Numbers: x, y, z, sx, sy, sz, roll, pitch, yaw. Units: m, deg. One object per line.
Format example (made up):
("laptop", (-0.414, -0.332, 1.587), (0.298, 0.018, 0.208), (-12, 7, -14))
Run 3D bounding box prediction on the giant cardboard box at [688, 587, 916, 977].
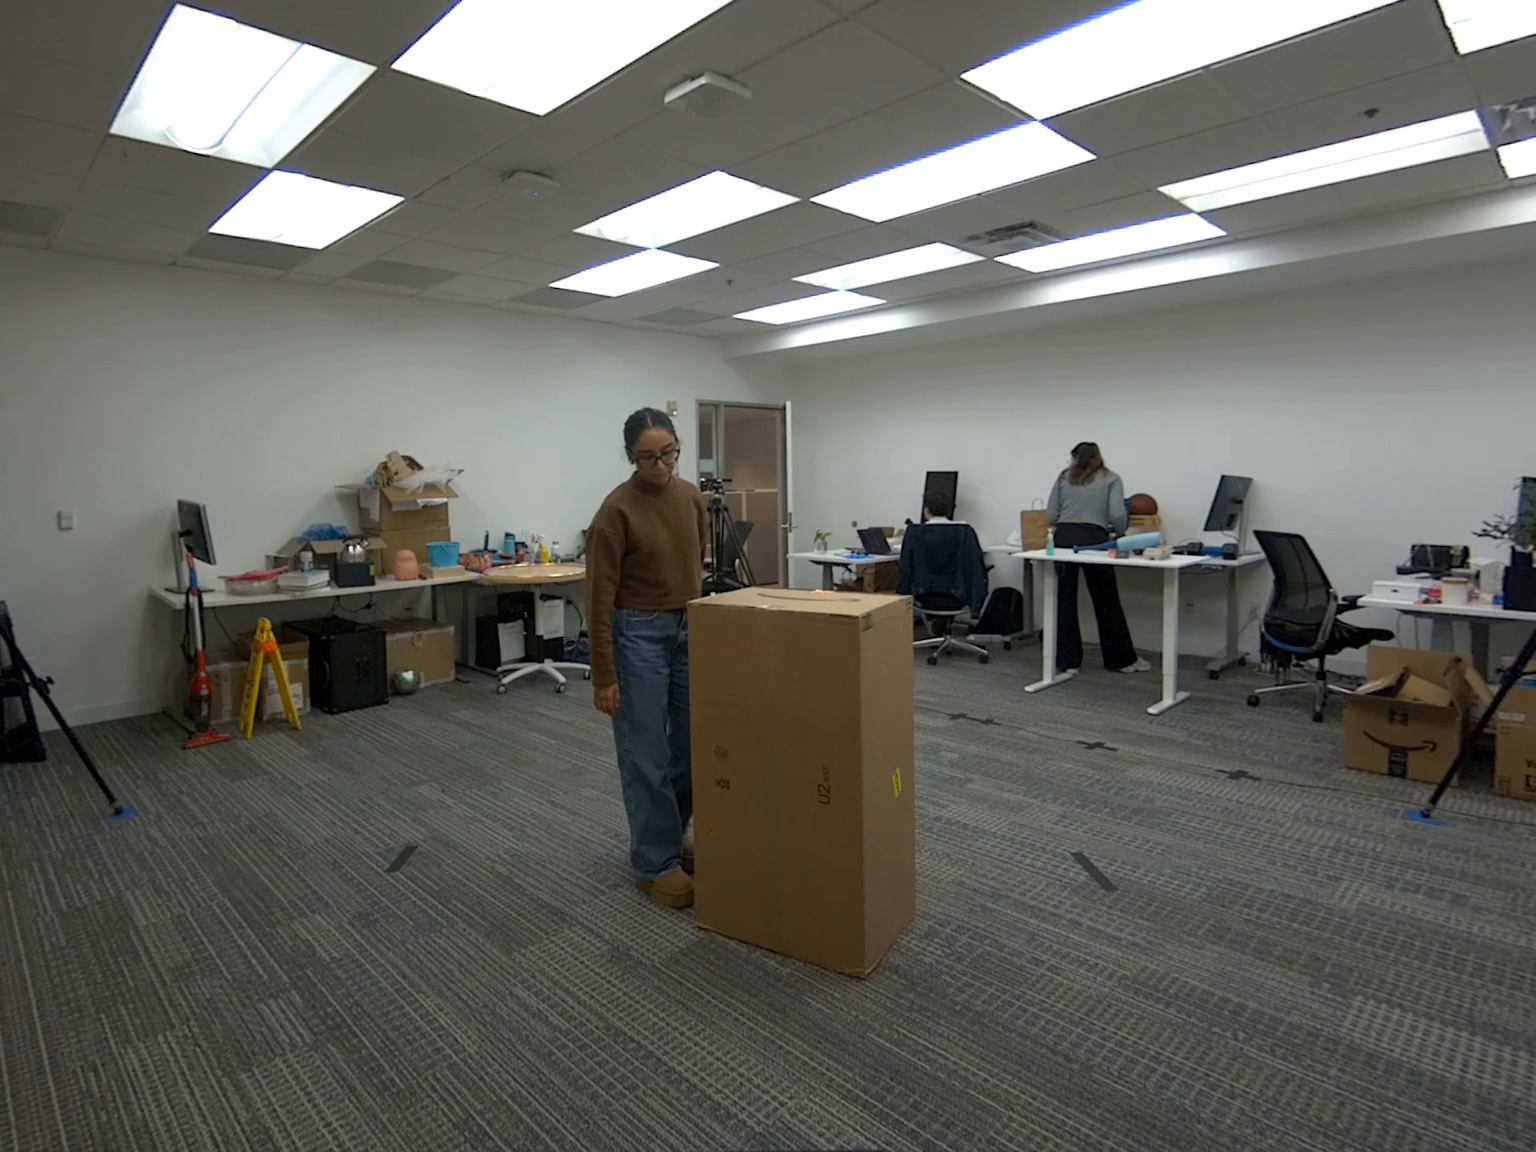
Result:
("giant cardboard box", (0.115, 0.583, 2.665), (0.593, 1.022, 0.416), (1, 4, 32))
